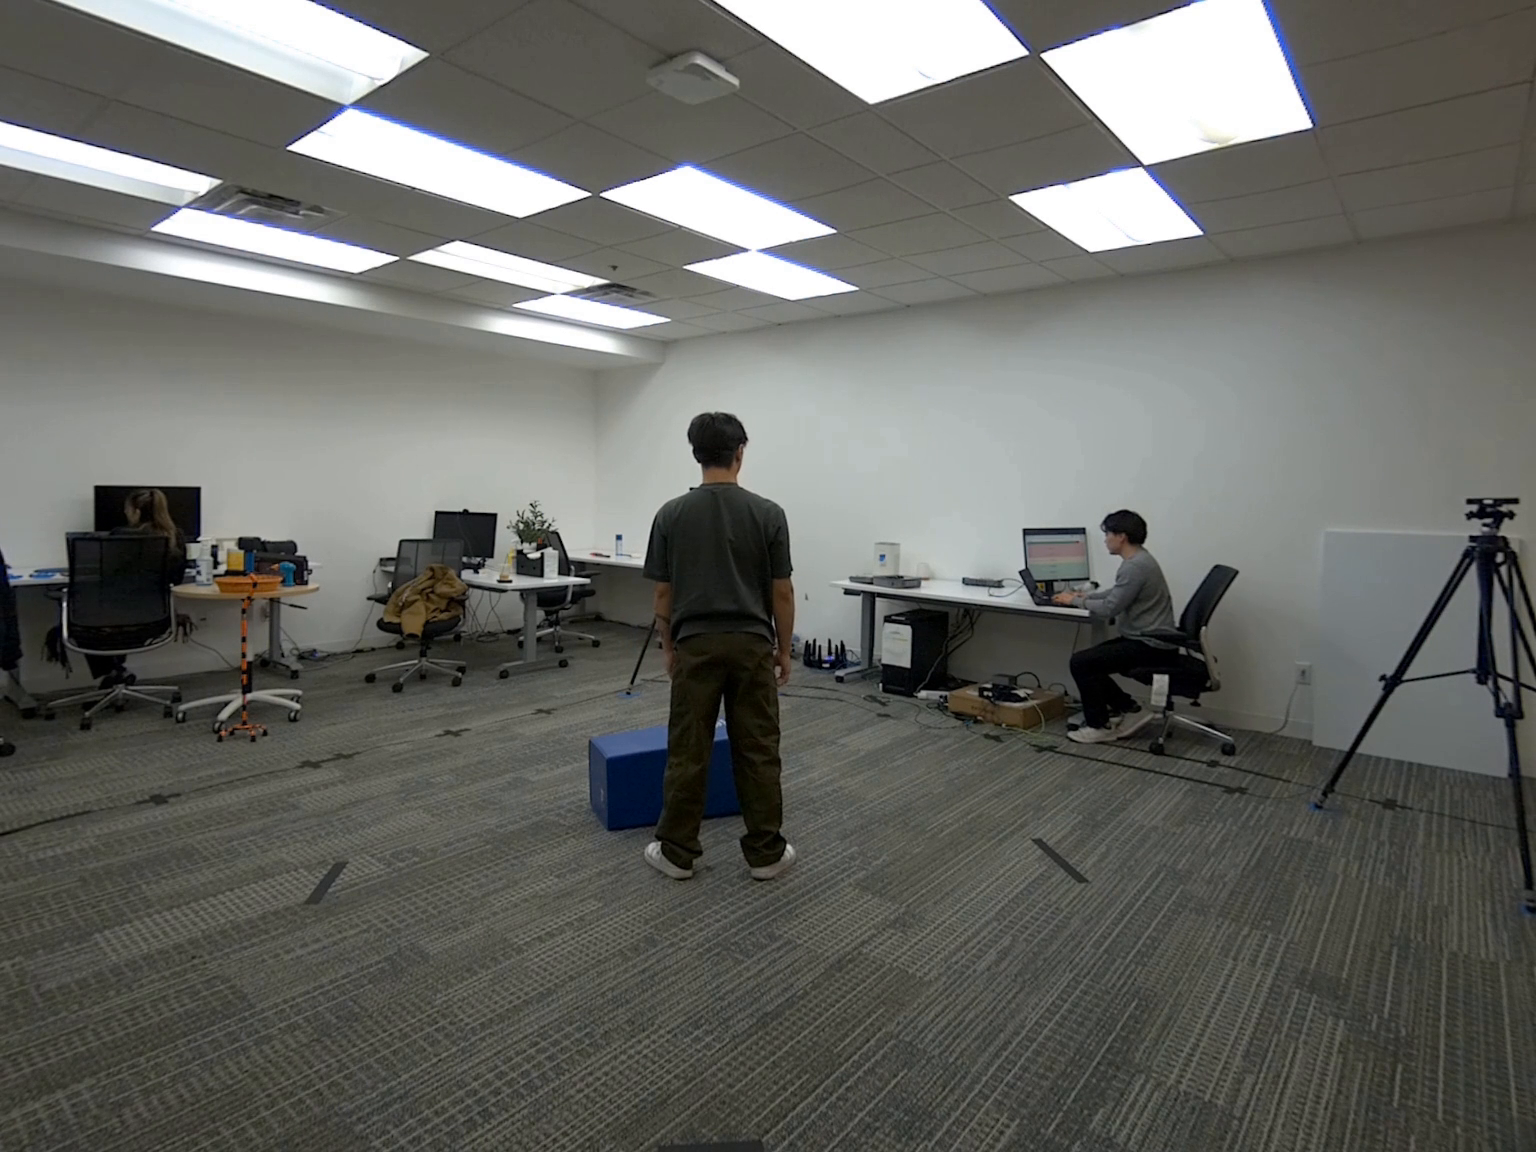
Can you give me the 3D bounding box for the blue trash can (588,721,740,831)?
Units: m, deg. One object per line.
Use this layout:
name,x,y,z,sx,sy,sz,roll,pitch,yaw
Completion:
blue trash can,-0.402,0.830,3.675,0.698,0.372,0.388,-3,6,-24
